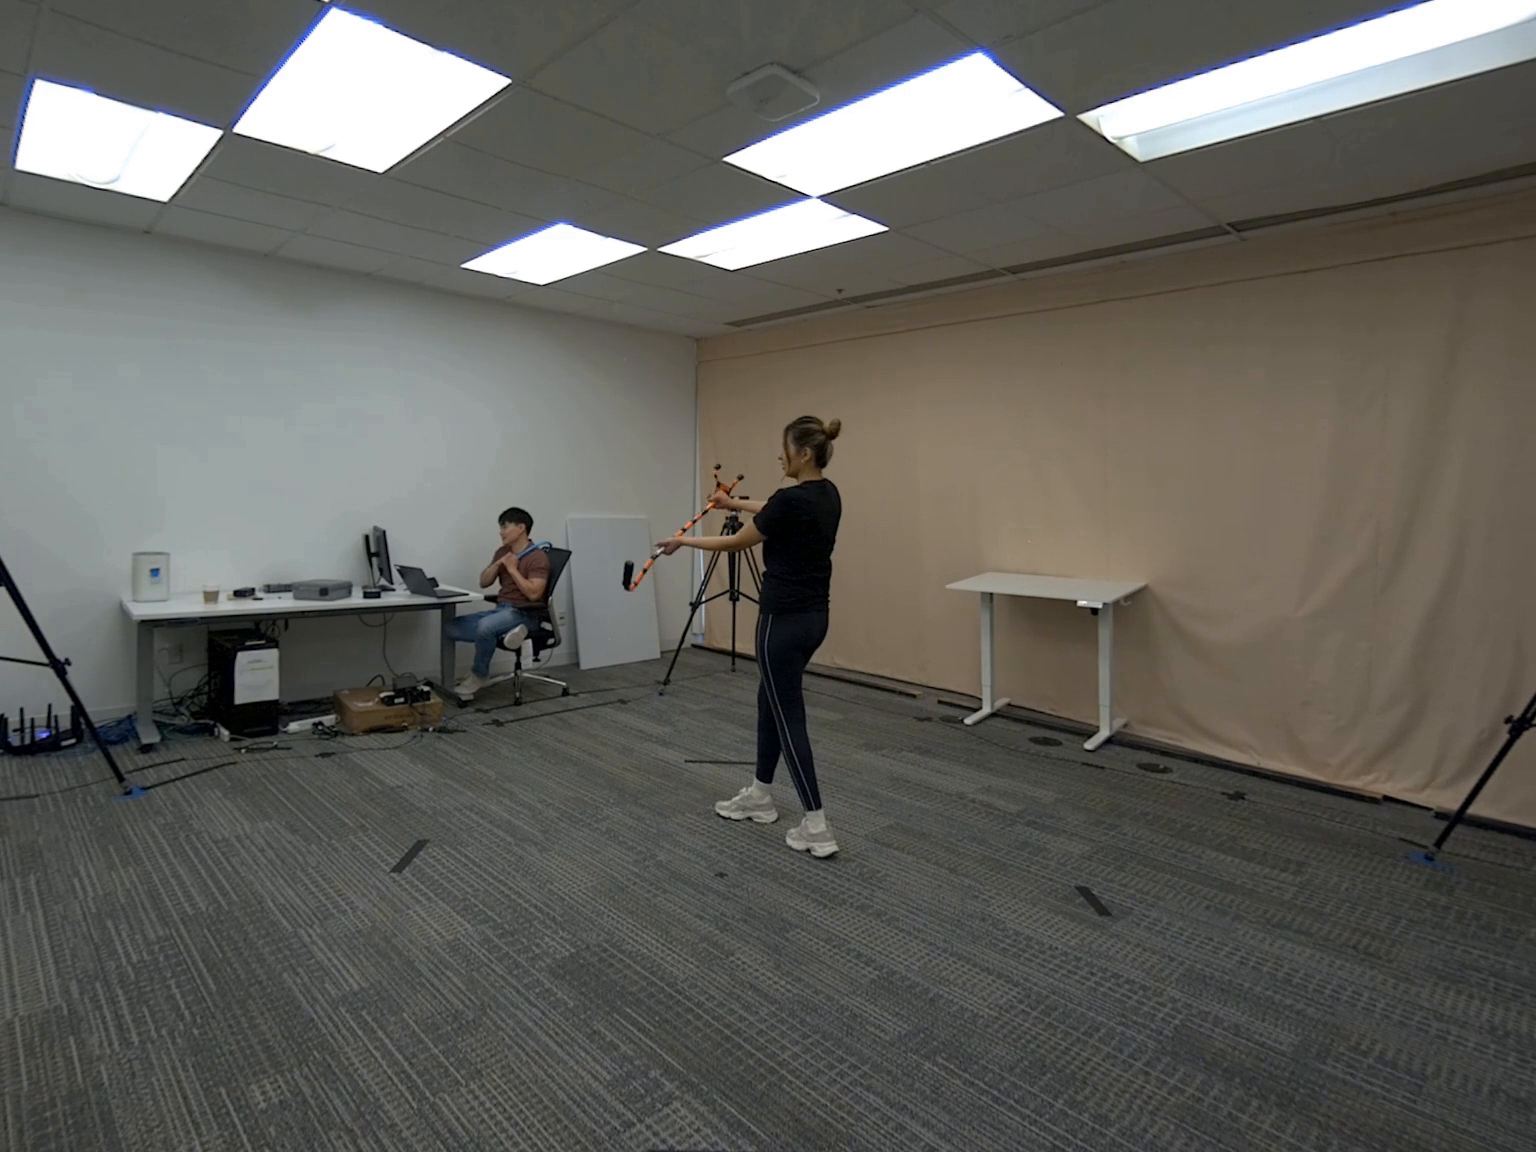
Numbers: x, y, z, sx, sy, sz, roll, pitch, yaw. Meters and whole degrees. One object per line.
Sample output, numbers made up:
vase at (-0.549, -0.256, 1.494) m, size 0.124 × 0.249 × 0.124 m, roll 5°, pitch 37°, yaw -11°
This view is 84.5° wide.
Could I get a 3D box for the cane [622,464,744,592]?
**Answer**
cane at (-0.388, -0.193, 3.622) m, size 0.154 × 0.203 × 0.909 m, roll 24°, pitch 38°, yaw 12°
